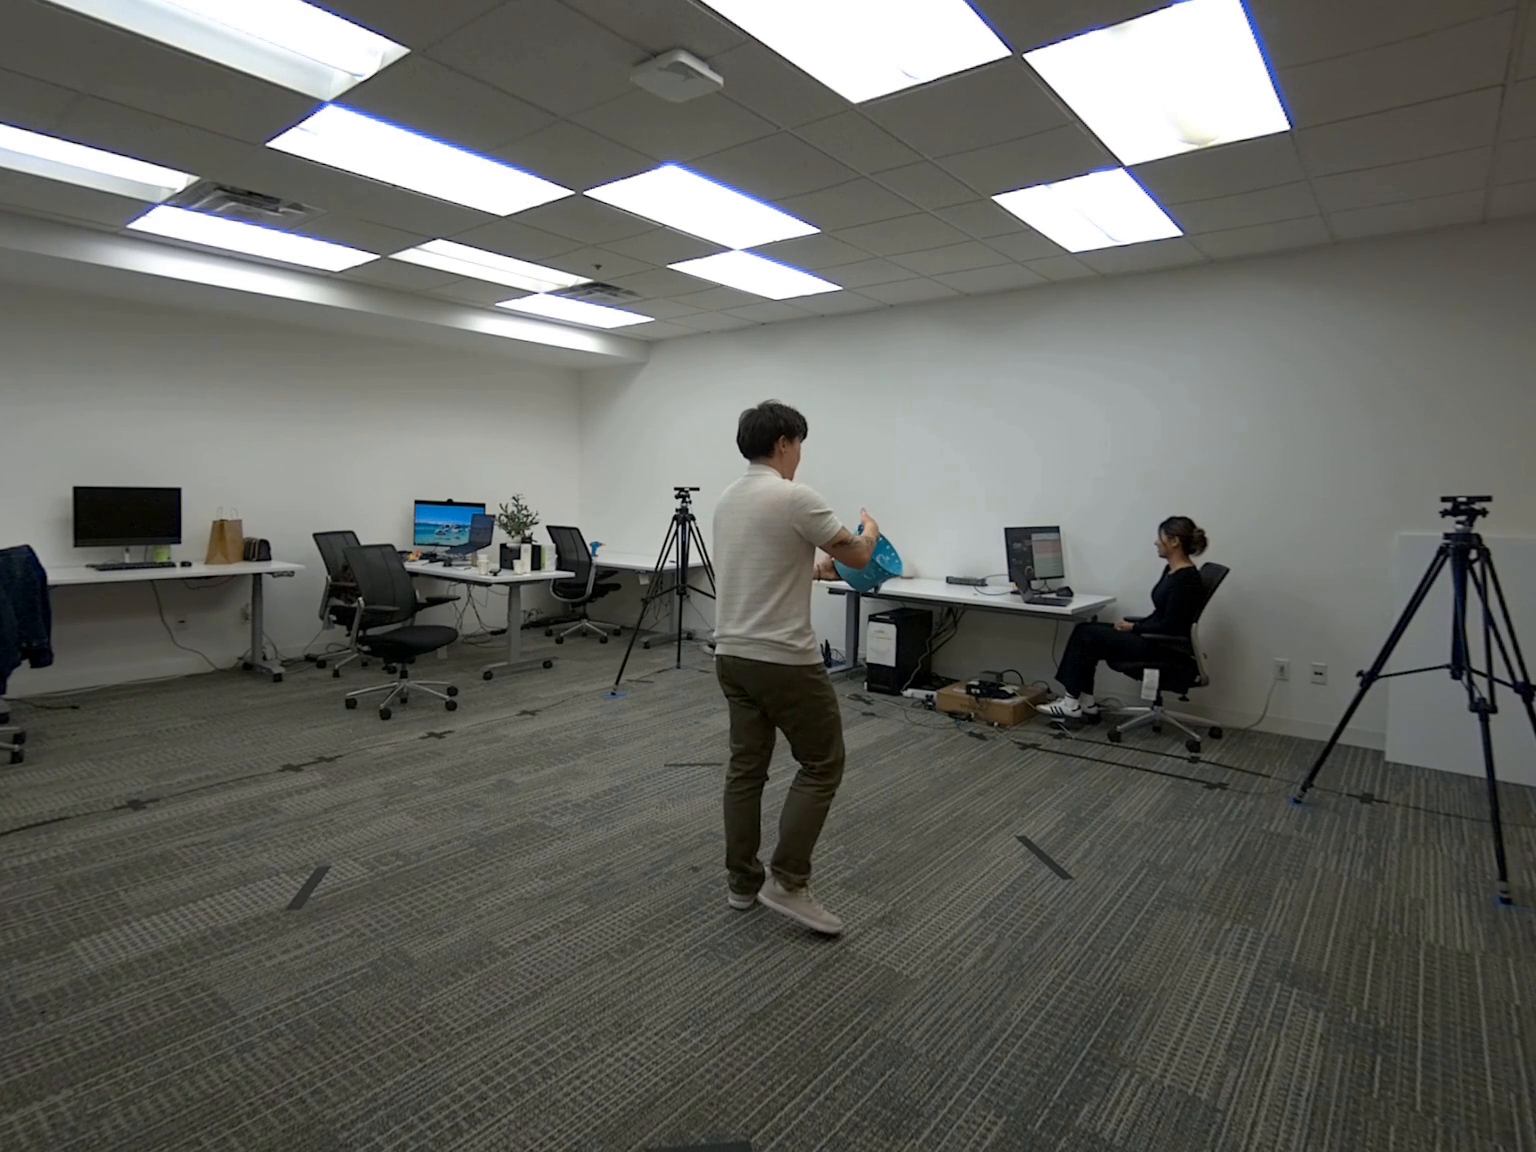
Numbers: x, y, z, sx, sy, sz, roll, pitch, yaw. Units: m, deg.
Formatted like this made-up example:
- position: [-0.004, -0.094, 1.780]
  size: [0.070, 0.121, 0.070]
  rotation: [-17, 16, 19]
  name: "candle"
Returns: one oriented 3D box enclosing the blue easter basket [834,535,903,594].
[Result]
- position: [0.359, -0.051, 3.123]
  size: [0.156, 0.250, 0.237]
  rotation: [-44, -22, 29]
  name: "blue easter basket"
